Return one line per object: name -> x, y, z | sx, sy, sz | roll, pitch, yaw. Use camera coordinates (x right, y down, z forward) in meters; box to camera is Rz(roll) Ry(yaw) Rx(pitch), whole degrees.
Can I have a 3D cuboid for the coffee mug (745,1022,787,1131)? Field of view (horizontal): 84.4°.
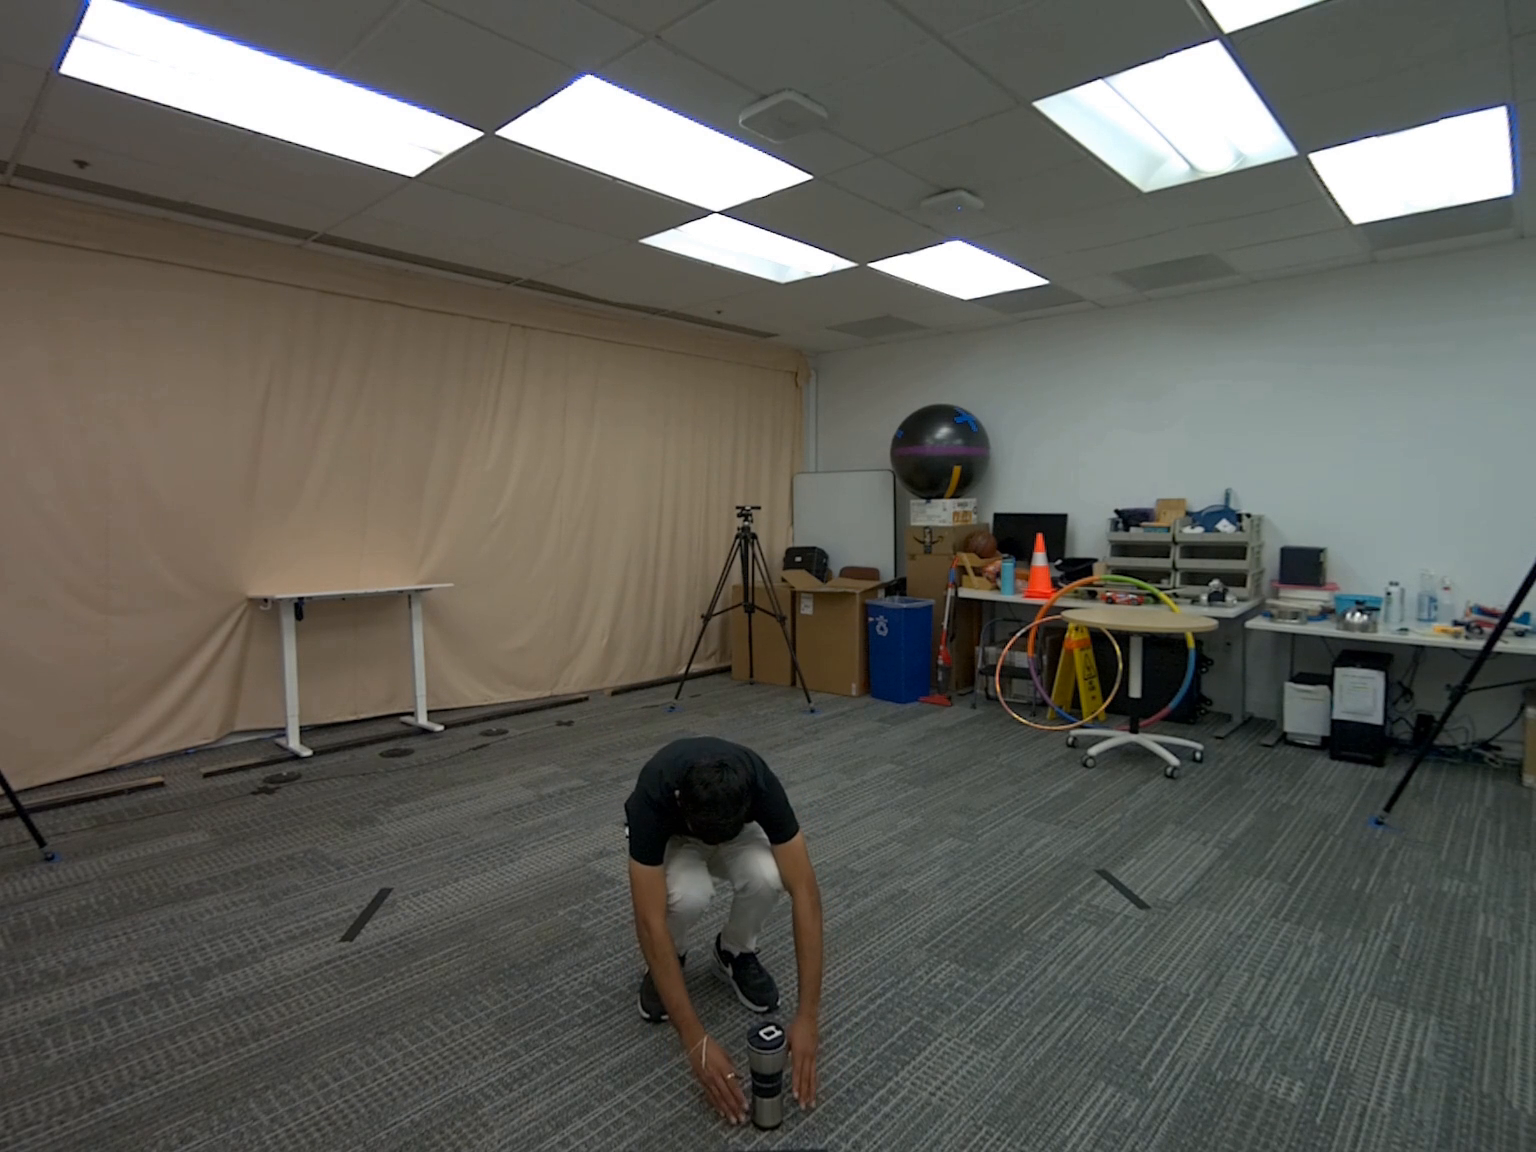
coffee mug -> 0.007, 1.131, 1.922 | 0.088, 0.202, 0.121 | -4, 3, 5
